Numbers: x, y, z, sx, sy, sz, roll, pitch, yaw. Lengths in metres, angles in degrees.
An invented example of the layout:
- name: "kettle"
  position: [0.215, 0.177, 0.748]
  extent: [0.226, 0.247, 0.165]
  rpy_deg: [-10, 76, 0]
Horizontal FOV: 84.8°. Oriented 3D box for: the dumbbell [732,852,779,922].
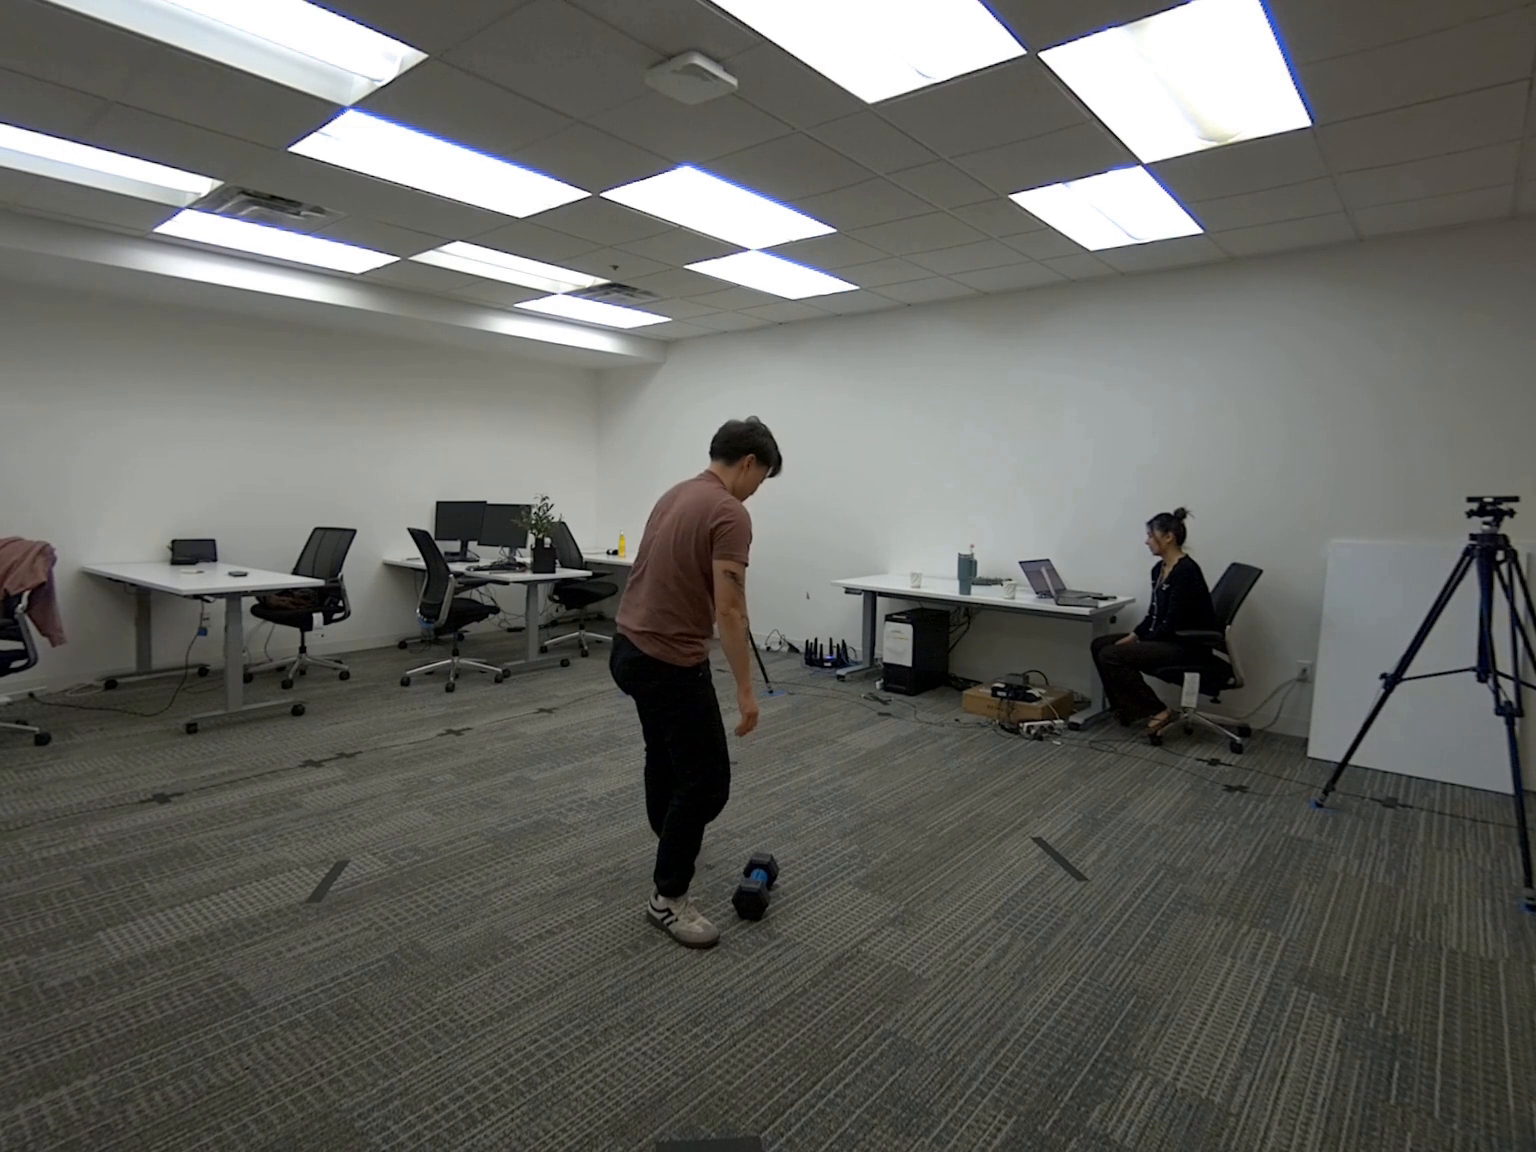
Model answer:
- name: "dumbbell"
  position: [-0.043, 1.038, 2.865]
  extent: [0.109, 0.123, 0.291]
  rpy_deg: [-30, -1, 9]
